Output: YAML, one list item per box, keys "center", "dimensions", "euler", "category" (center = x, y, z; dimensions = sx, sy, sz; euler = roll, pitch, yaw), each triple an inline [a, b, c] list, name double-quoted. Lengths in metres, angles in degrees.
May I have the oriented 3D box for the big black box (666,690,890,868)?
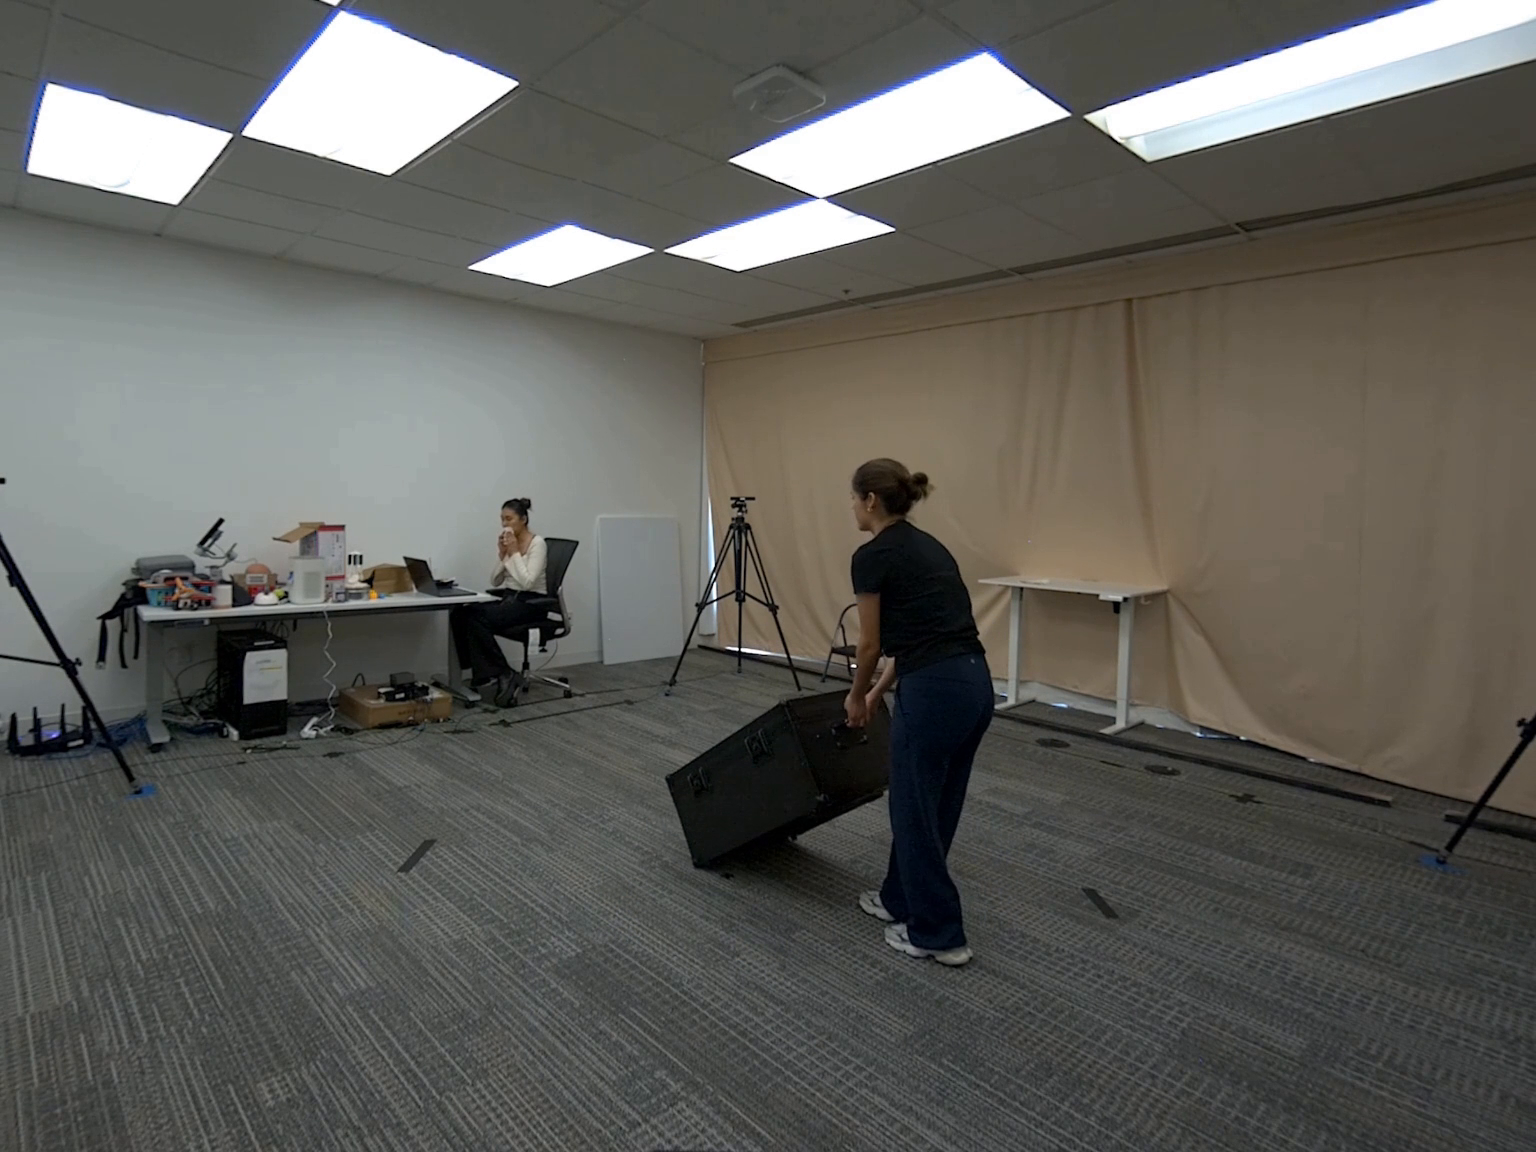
- center: [0.046, 0.770, 3.142]
  dimensions: [0.509, 0.404, 0.864]
  euler: [-2, -28, -42]
  category: "big black box"
